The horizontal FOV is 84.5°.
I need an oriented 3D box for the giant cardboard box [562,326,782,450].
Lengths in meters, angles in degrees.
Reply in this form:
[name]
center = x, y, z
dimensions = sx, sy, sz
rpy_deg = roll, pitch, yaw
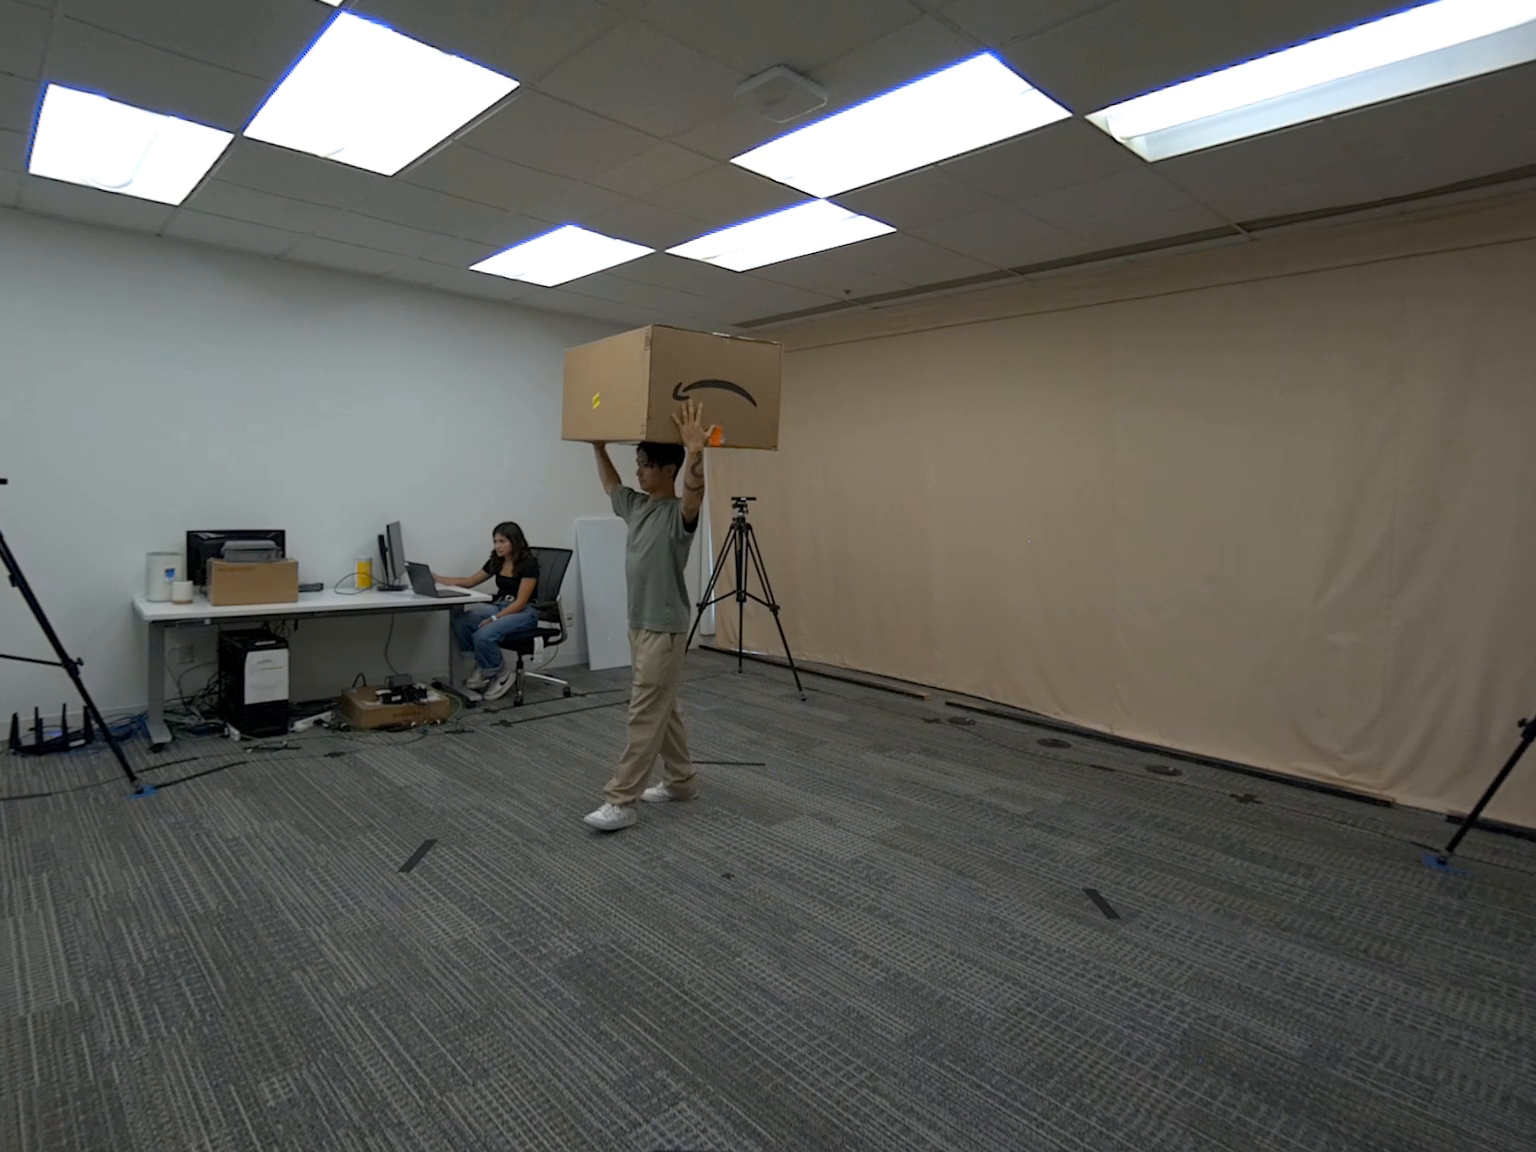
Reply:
[giant cardboard box]
center = -0.464, -0.779, 3.658
dimensions = 0.565, 0.424, 1.051
rpy_deg = 0, 8, -31
